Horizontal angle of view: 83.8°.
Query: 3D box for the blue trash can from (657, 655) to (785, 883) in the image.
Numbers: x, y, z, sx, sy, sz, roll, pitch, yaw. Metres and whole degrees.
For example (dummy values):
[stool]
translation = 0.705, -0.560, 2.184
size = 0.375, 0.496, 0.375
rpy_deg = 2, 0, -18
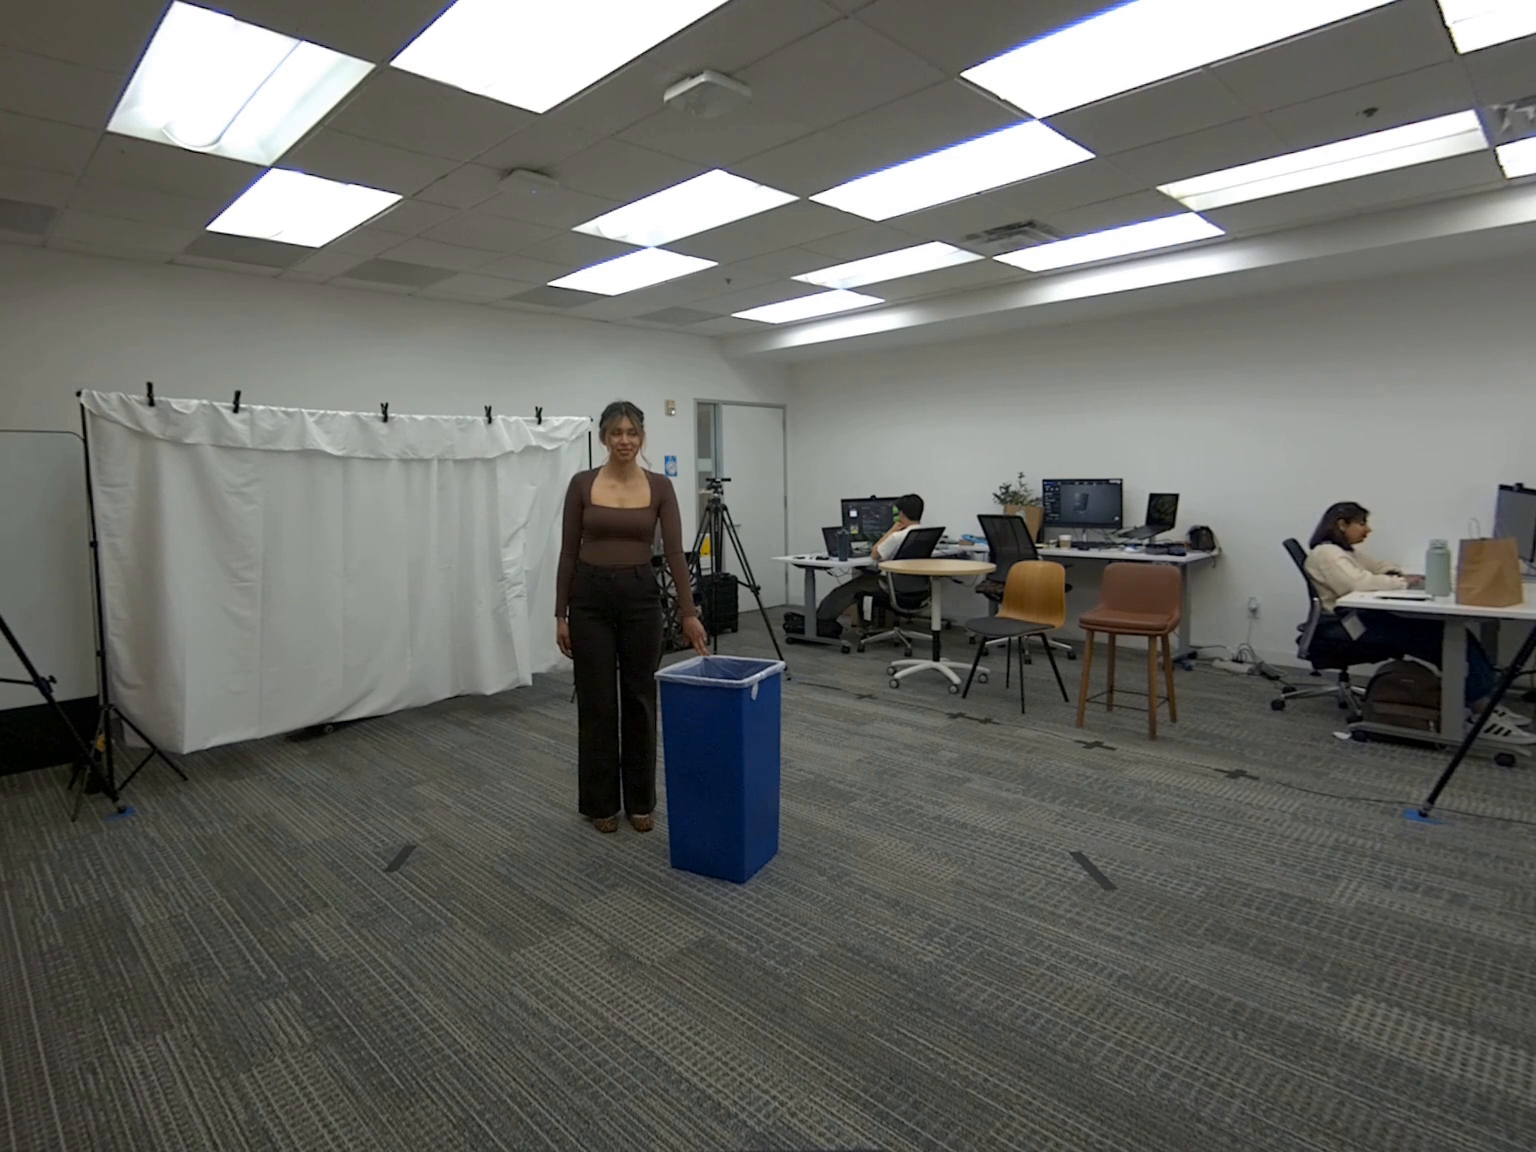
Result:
[blue trash can]
translation = -0.165, 0.683, 3.118
size = 0.383, 0.711, 0.370
rpy_deg = 2, 4, 27
